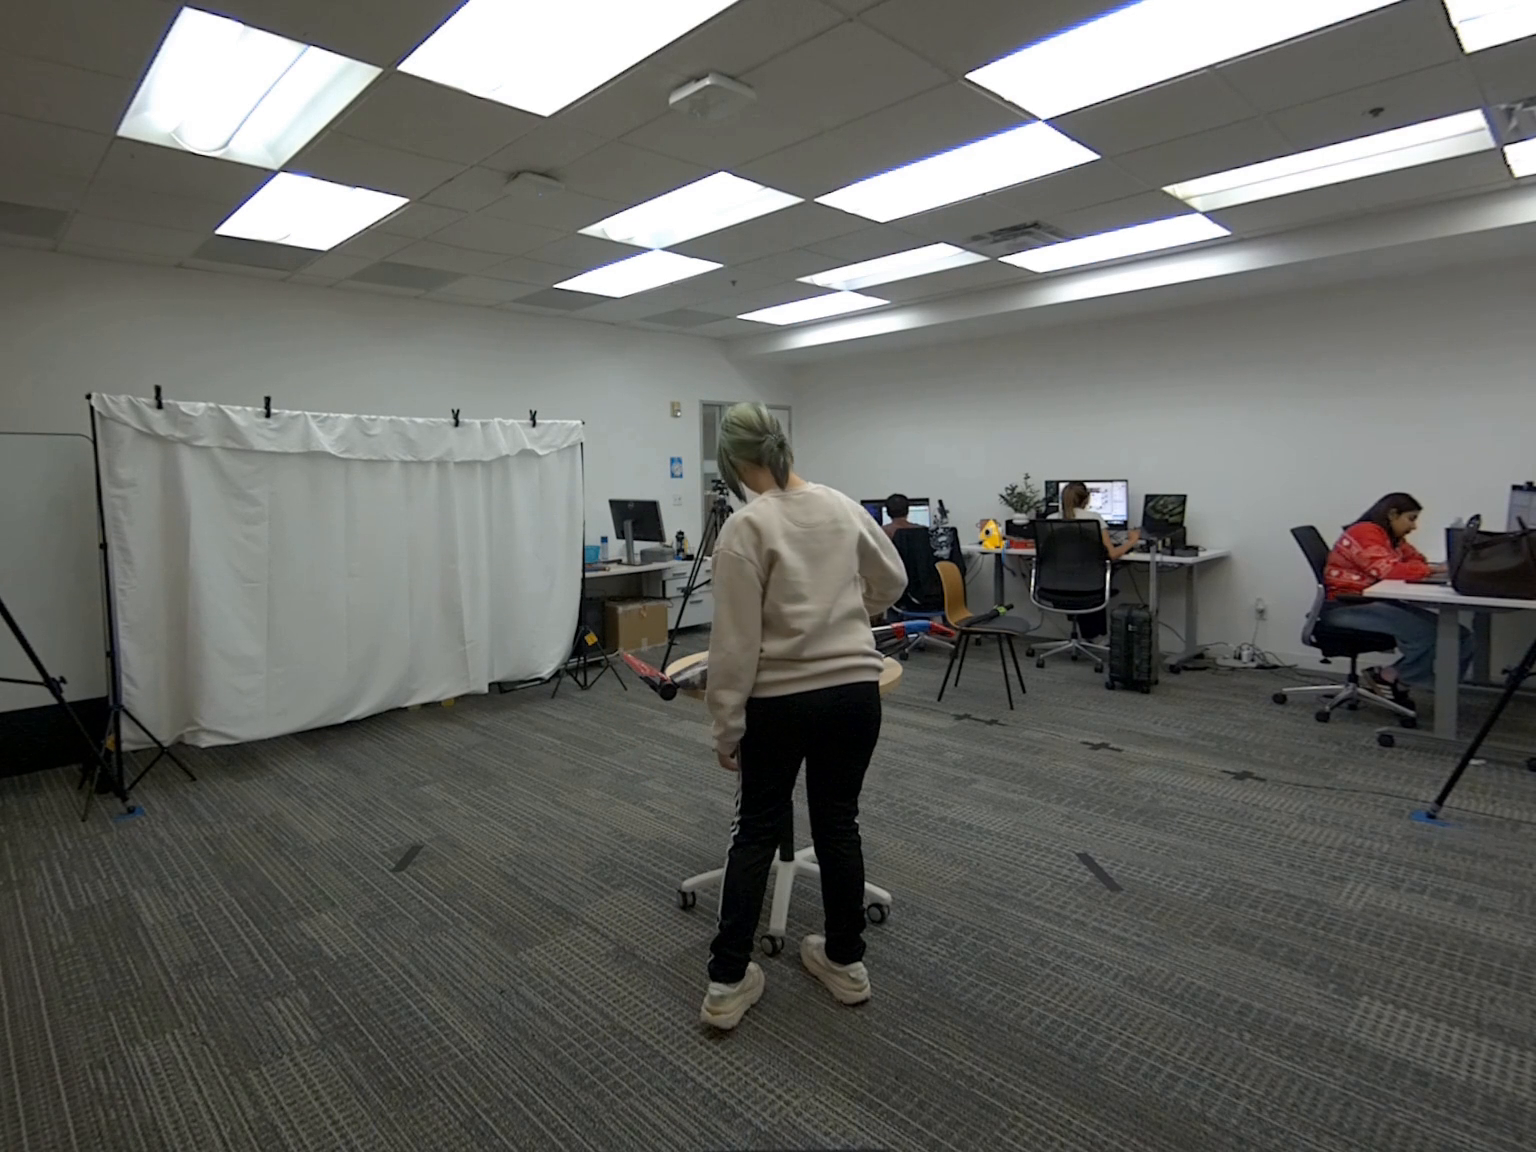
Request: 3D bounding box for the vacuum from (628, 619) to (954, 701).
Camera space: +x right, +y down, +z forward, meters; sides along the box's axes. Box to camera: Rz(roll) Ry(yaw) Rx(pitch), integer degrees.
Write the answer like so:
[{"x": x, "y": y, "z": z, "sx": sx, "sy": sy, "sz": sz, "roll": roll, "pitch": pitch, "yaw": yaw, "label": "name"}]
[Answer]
[{"x": 0.135, "y": 0.259, "z": 2.662, "sx": 1.030, "sy": 0.143, "sz": 0.259, "roll": -6, "pitch": 10, "yaw": -22, "label": "vacuum"}]
